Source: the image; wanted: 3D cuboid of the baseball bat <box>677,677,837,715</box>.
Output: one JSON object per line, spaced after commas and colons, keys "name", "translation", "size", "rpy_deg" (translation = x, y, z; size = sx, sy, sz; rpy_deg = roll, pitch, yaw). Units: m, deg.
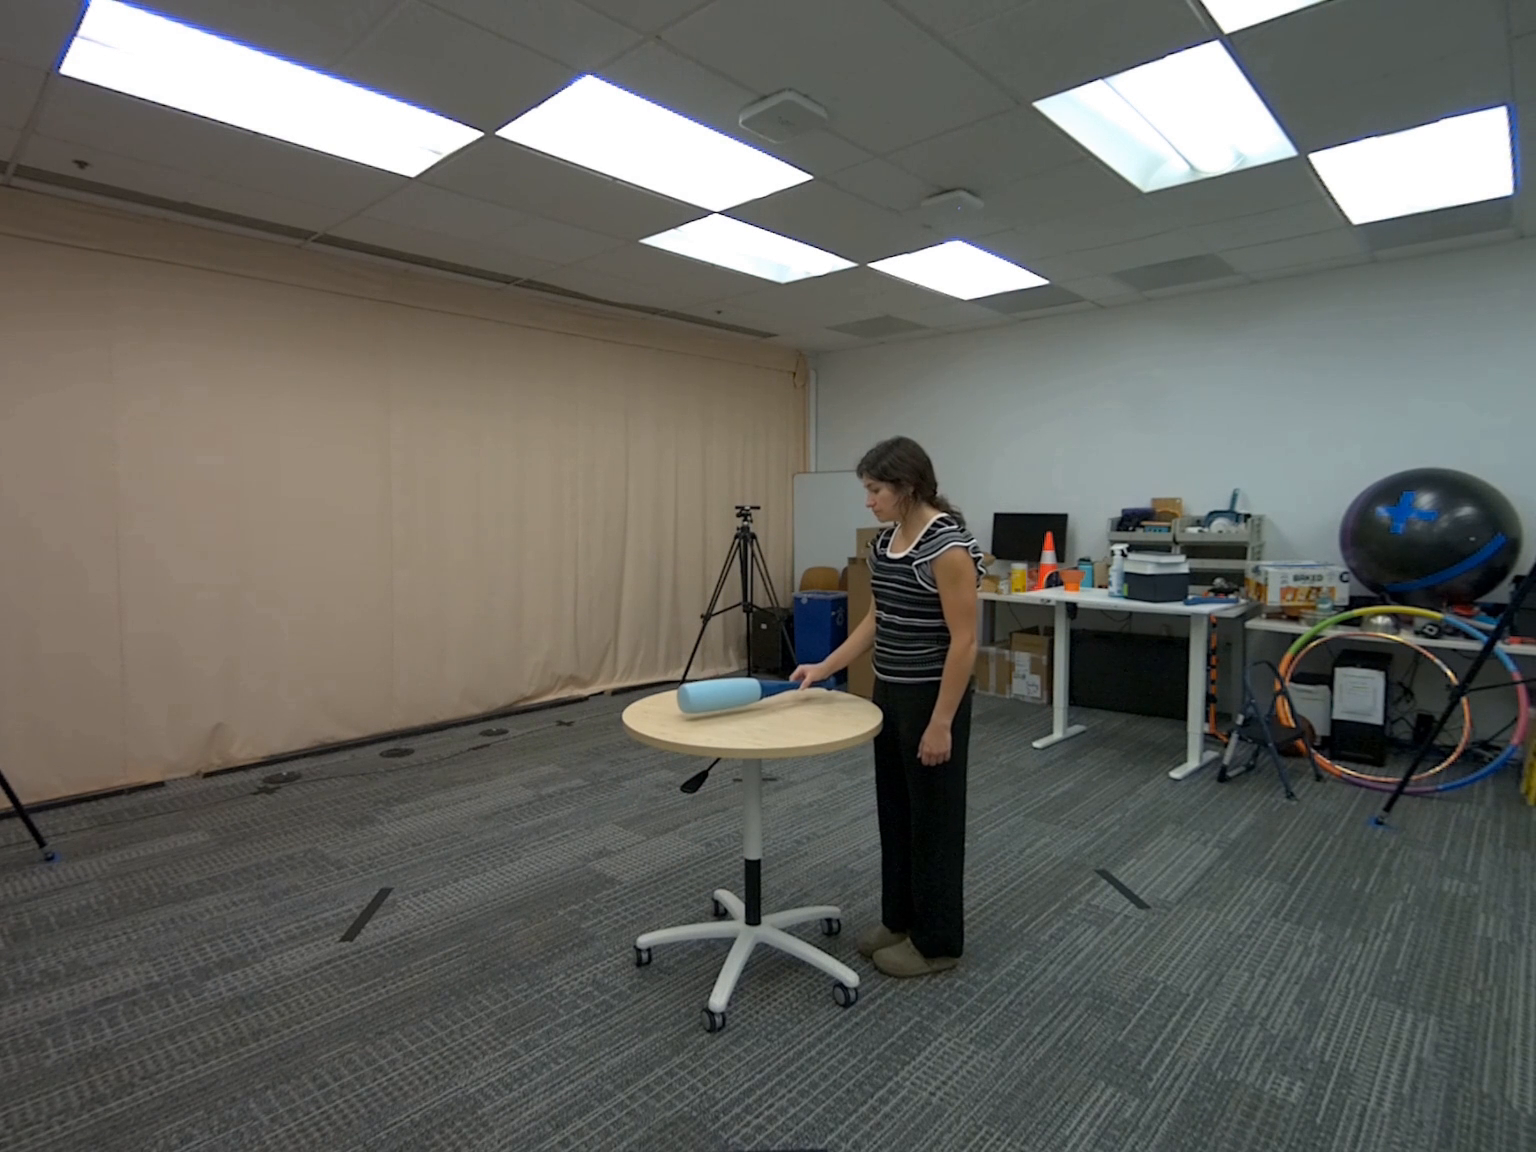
{"name": "baseball bat", "translation": [-0.008, 0.350, 2.522], "size": [0.528, 0.089, 0.092], "rpy_deg": [-2, 4, -30]}
